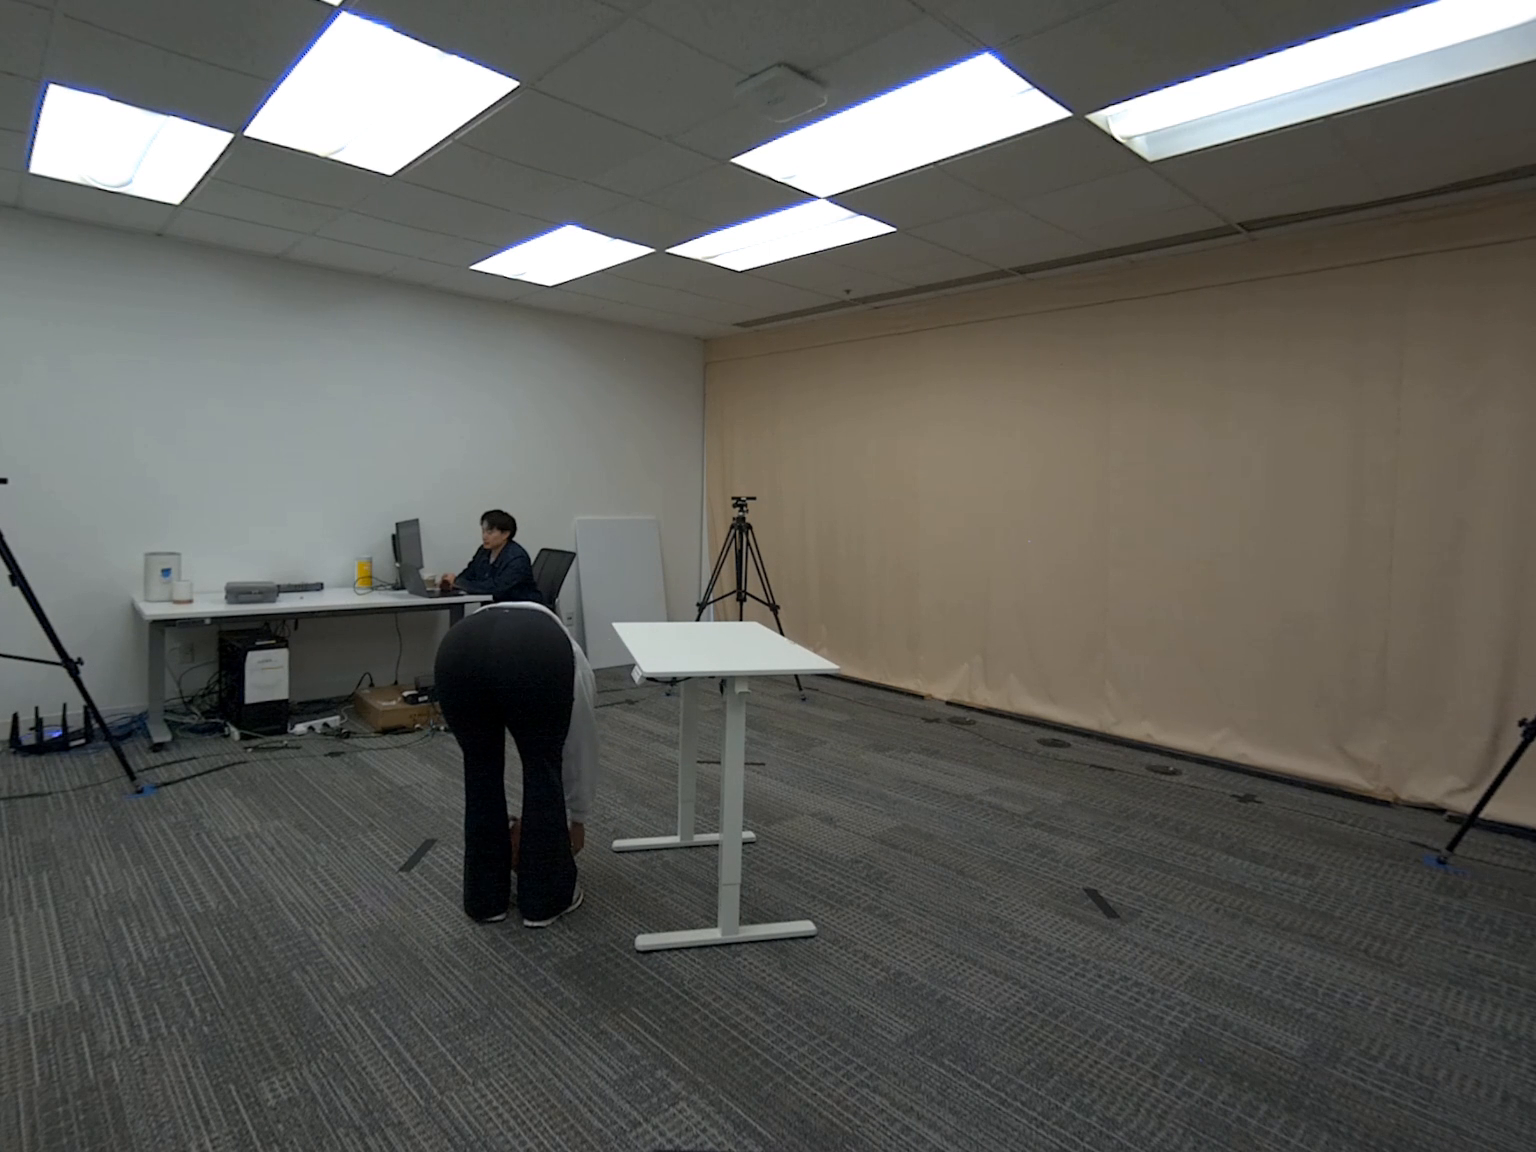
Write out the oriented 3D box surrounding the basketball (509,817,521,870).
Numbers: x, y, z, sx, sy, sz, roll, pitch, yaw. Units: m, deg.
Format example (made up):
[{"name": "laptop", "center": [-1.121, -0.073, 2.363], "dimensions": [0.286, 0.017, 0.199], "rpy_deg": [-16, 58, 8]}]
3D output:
[{"name": "basketball", "center": [-0.834, 0.972, 3.047], "dimensions": [0.236, 0.235, 0.237], "rpy_deg": [1, 4, -1]}]
